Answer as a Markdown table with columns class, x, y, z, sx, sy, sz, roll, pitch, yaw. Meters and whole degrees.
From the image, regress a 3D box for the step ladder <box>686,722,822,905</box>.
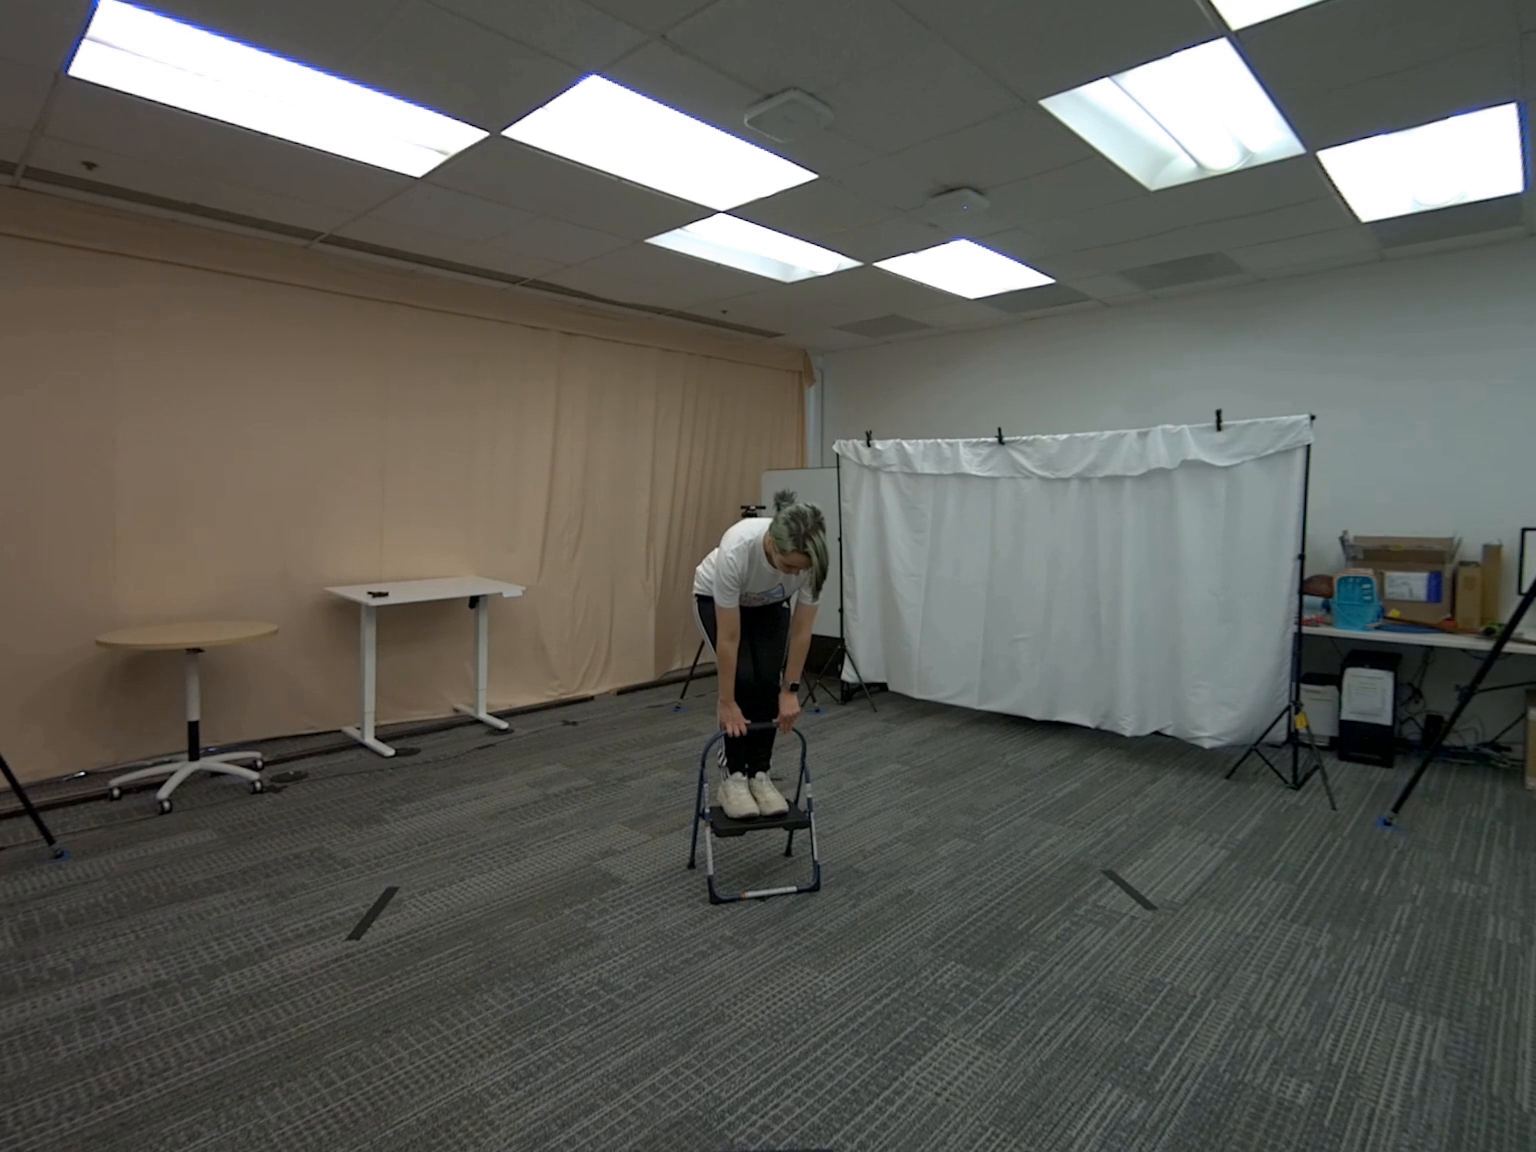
| class | x | y | z | sx | sy | sz | roll | pitch | yaw |
| --- | --- | --- | --- | --- | --- | --- | --- | --- | --- |
| step ladder | -0.056 | 0.834 | 3.134 | 0.423 | 0.605 | 0.356 | -1 | 3 | -18 |
